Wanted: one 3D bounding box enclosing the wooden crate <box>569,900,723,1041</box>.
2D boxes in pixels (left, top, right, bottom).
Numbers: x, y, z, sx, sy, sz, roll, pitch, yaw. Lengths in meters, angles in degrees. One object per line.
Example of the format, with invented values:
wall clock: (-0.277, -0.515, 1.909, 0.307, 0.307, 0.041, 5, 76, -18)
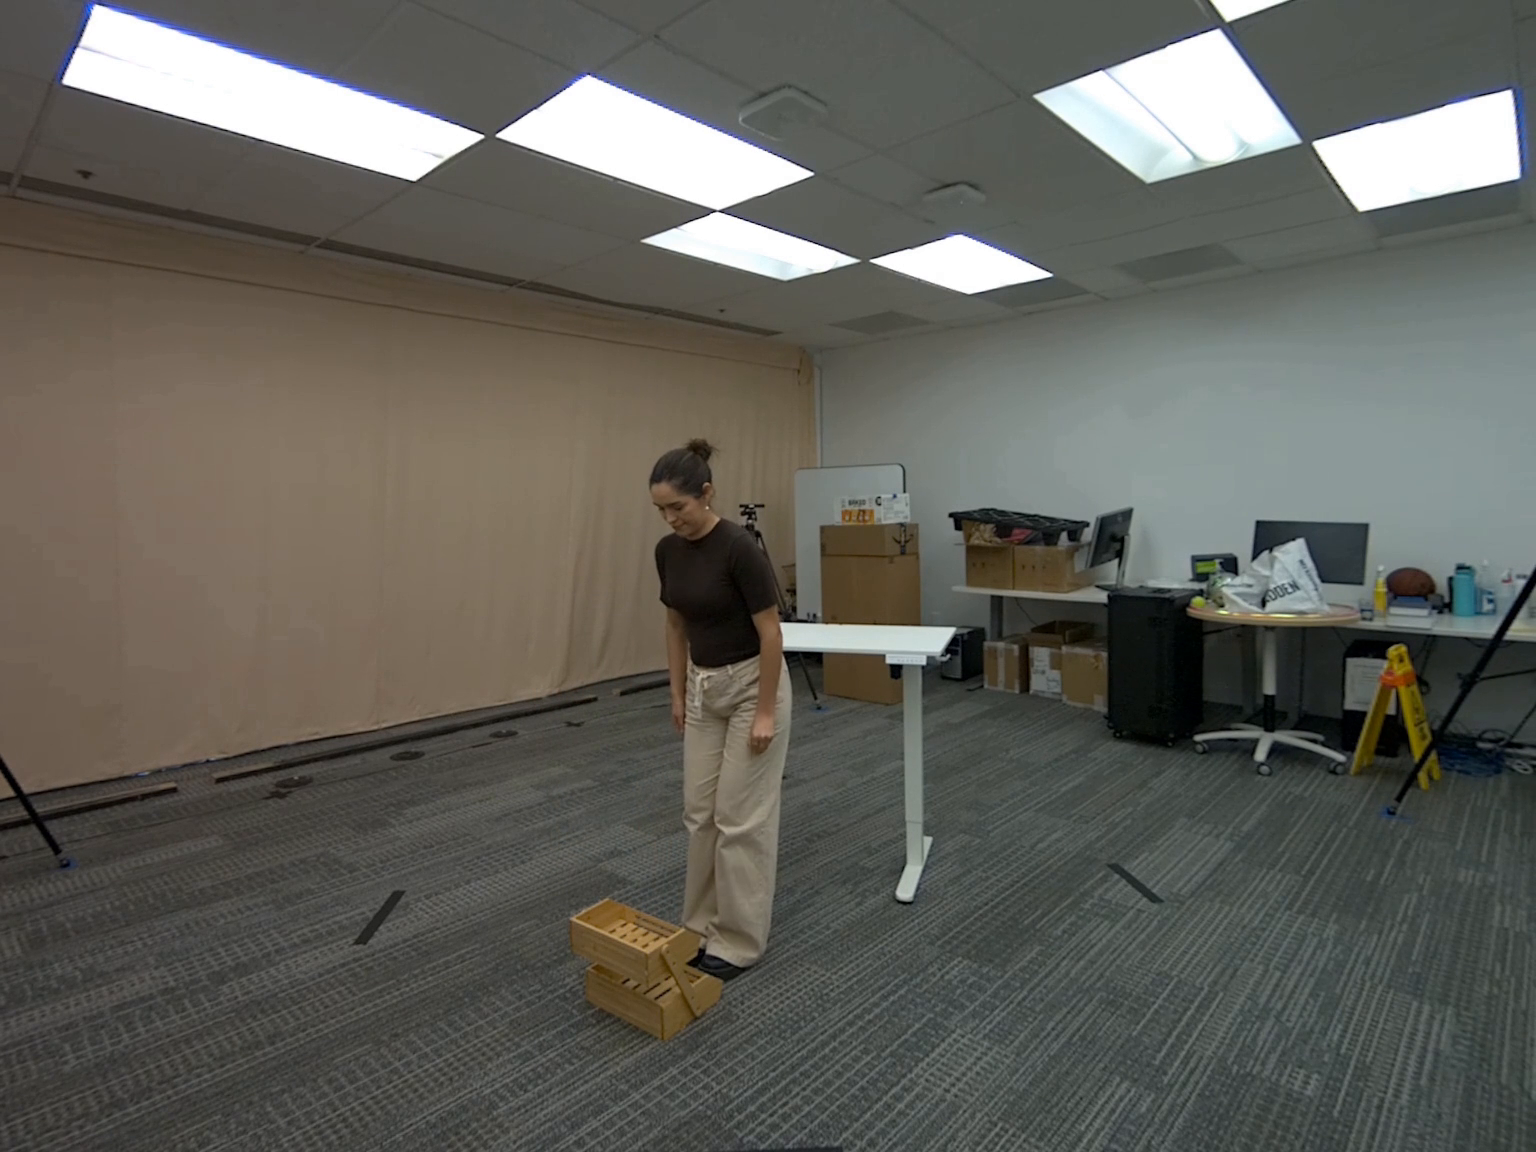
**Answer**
wooden crate: (-0.338, 1.068, 2.351, 0.335, 0.272, 0.293, 1, 5, 37)
